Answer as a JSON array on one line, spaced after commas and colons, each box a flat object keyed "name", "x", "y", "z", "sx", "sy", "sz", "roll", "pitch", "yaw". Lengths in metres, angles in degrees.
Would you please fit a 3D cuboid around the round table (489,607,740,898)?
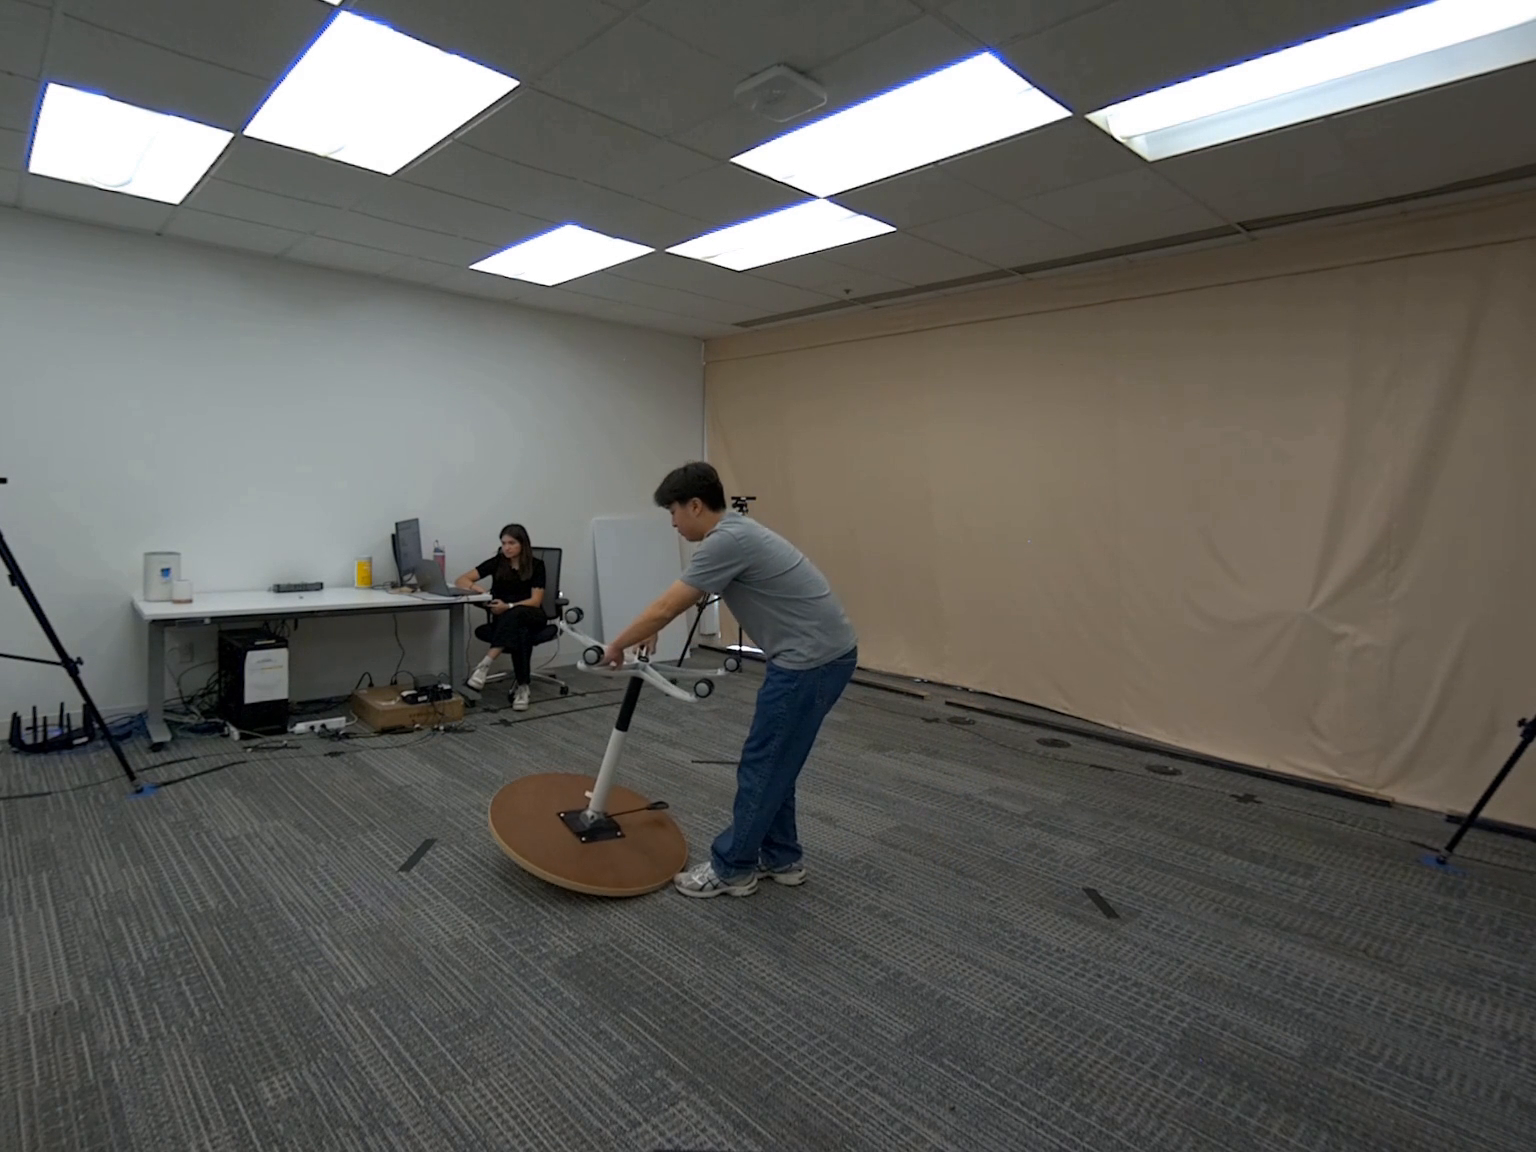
[{"name": "round table", "x": -0.558, "y": 0.602, "z": 3.146, "sx": 0.761, "sy": 0.790, "sz": 0.770, "roll": 17, "pitch": 10, "yaw": -5}]
